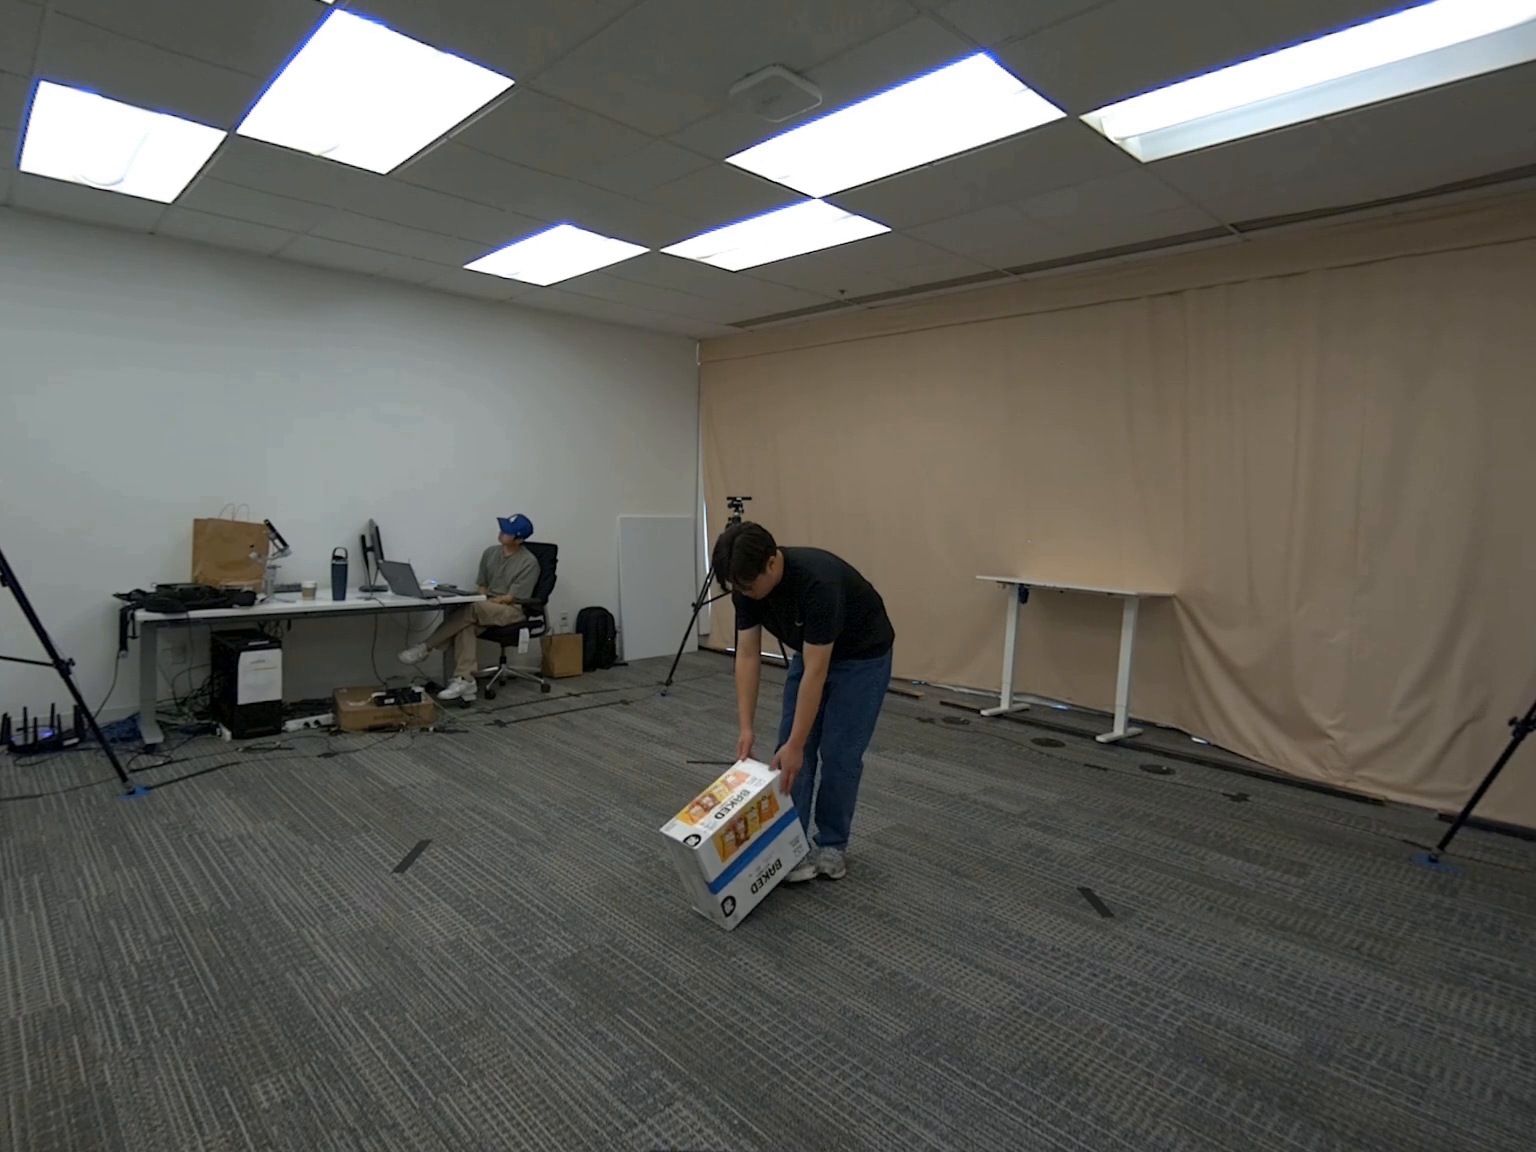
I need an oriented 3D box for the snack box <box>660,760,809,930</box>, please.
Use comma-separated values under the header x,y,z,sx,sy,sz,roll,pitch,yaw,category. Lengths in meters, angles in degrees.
x,y,z,sx,sy,sz,roll,pitch,yaw,category
-0.111,0.895,2.835,0.402,0.334,0.211,-34,24,-35,snack box
